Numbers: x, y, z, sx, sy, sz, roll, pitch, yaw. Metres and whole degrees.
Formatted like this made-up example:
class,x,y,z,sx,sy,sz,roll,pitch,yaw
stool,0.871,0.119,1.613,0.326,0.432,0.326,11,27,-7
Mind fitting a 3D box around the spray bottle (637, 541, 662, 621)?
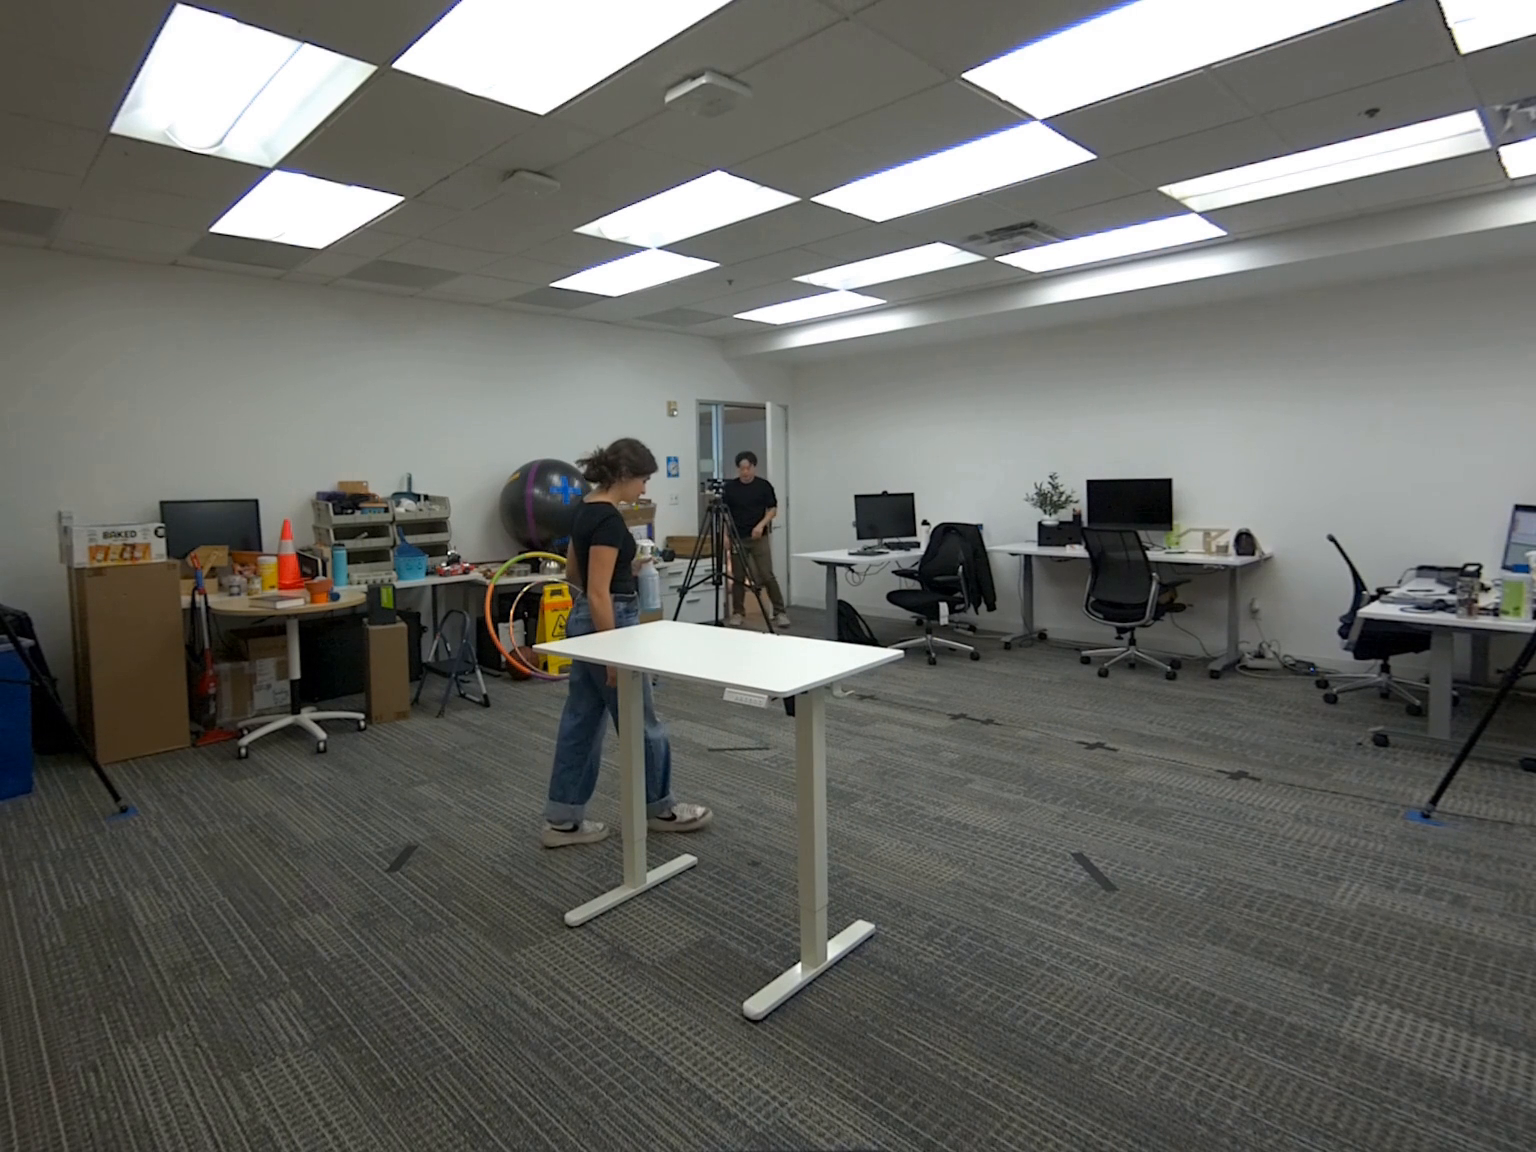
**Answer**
class,x,y,z,sx,sy,sz,roll,pitch,yaw
spray bottle,-0.491,-0.004,3.513,0.089,0.296,0.088,-6,4,-15
